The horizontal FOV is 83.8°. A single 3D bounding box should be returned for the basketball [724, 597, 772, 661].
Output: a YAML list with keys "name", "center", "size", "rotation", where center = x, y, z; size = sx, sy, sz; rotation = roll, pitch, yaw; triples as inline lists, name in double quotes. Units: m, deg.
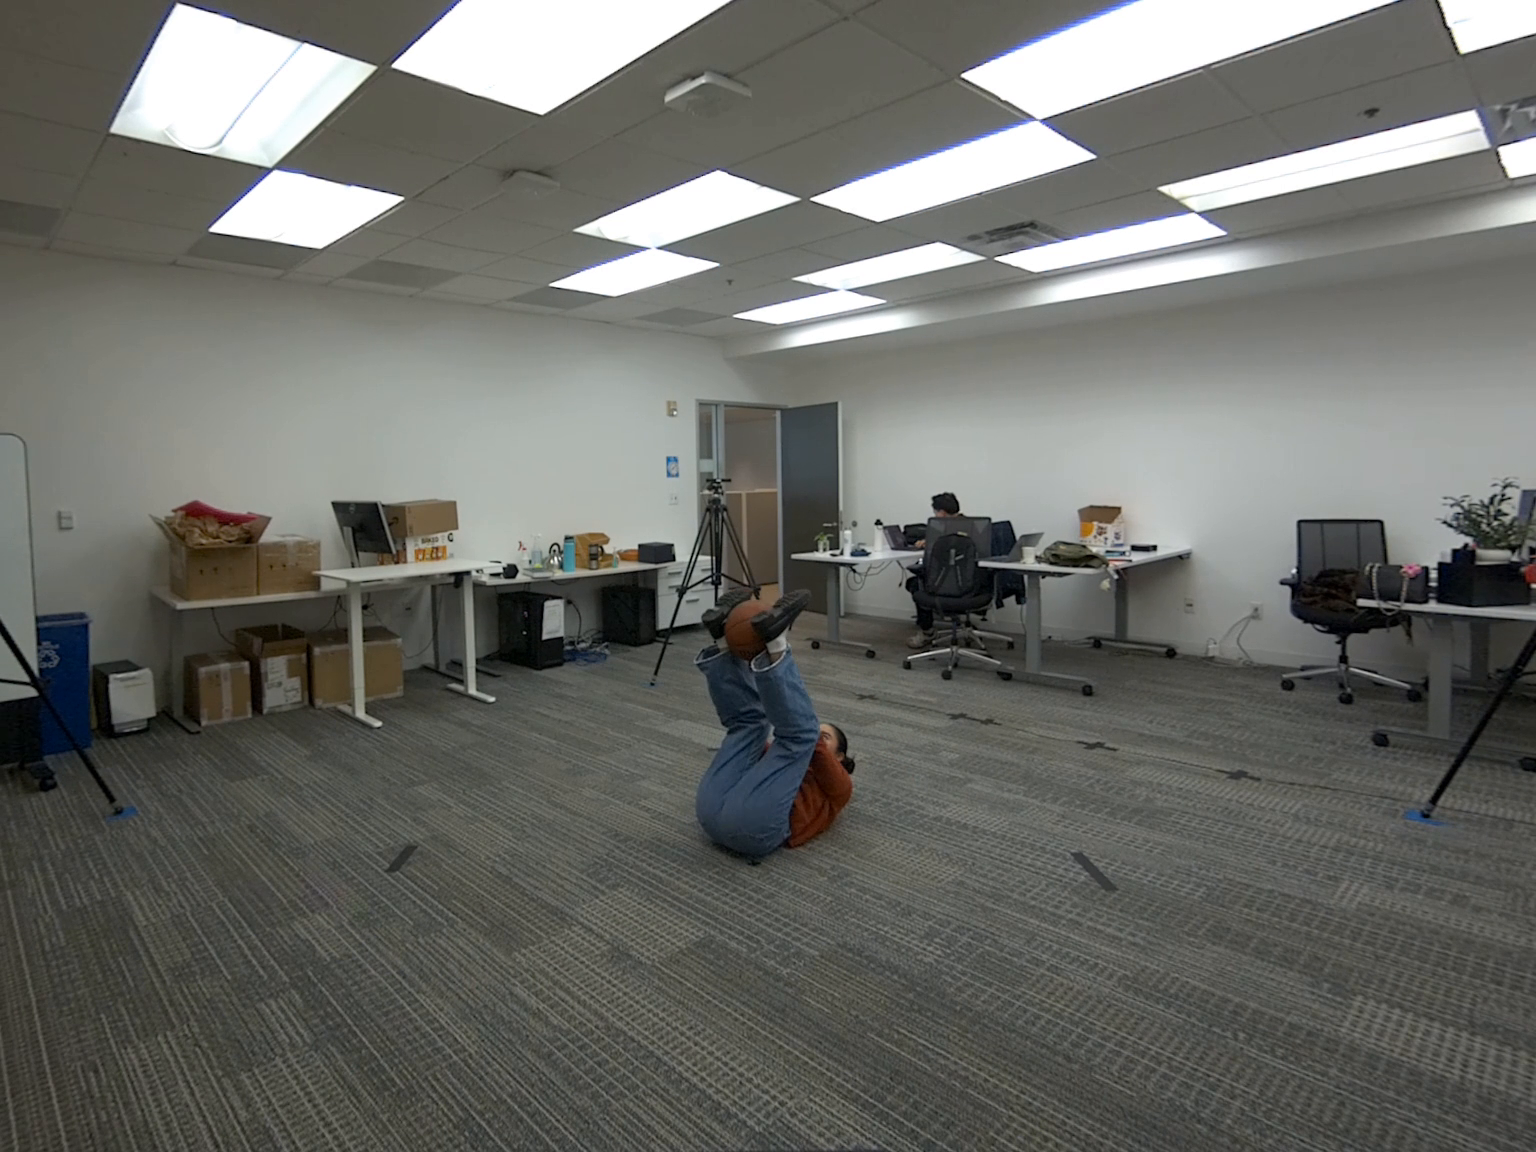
- name: "basketball"
  center: [-0.059, 0.210, 3.274]
  size: [0.236, 0.236, 0.236]
  rotation: [0, 1, -2]
